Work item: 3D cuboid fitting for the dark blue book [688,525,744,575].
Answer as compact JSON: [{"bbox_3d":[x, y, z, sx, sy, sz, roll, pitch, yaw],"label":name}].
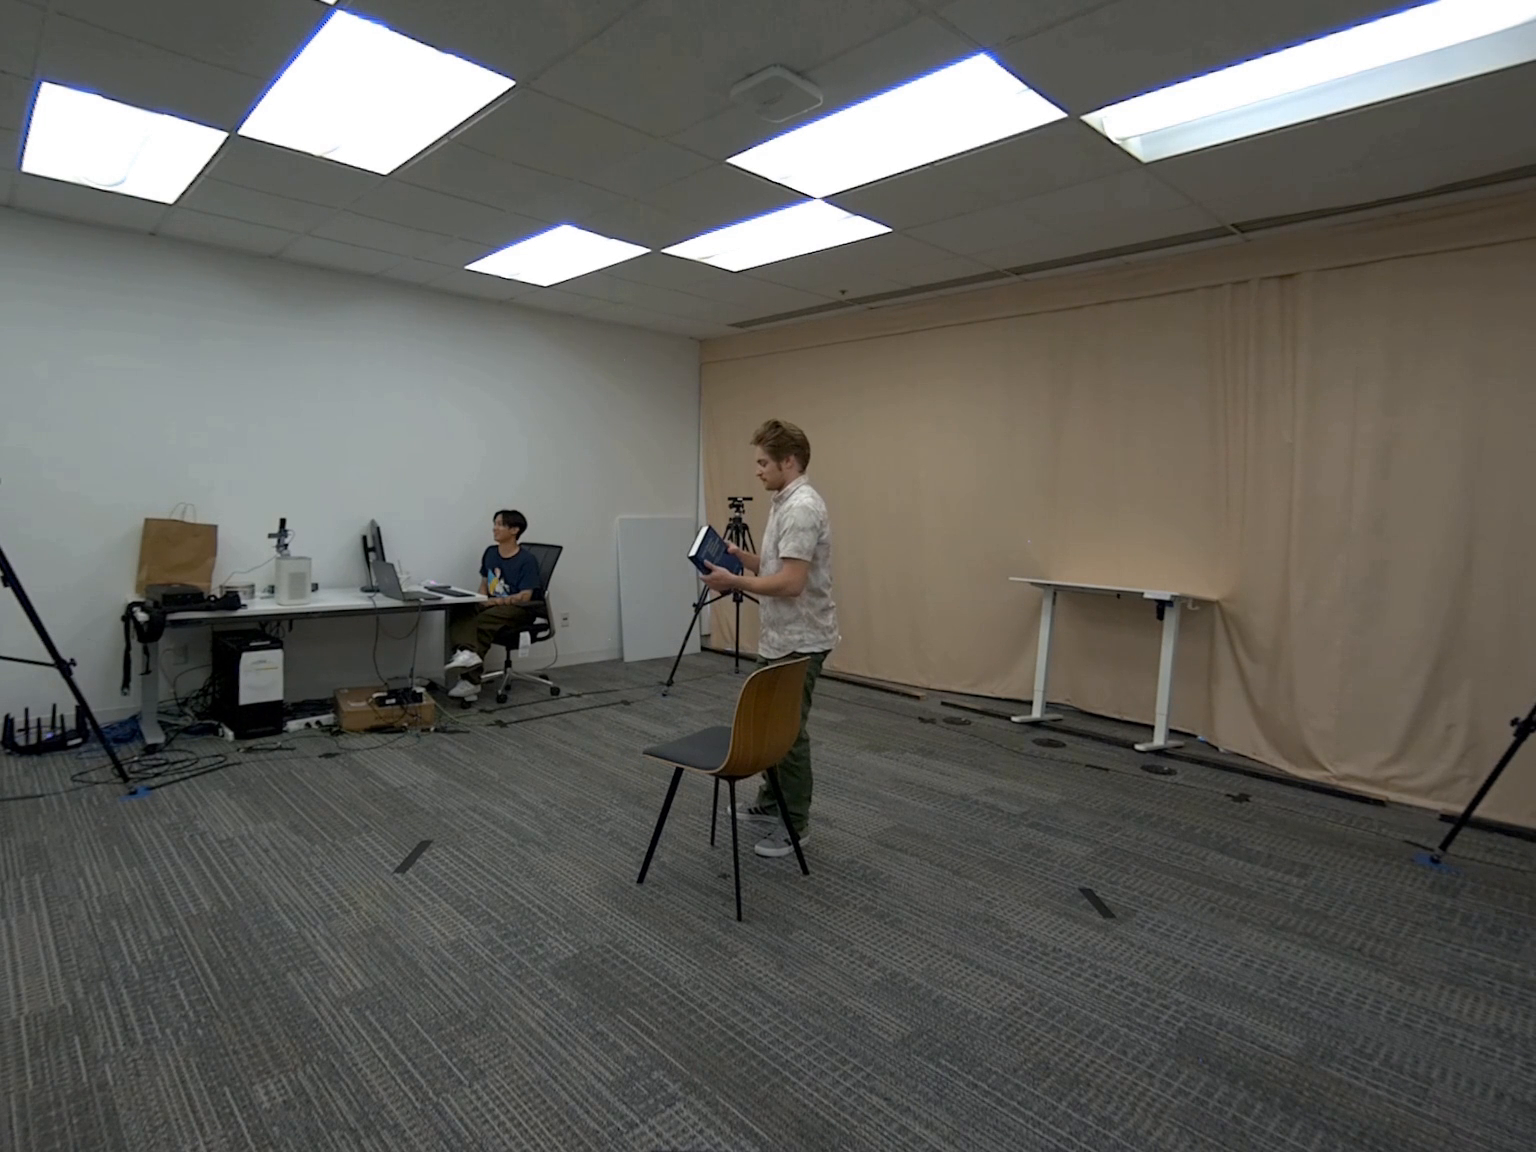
[{"bbox_3d":[-0.210,-0.061,3.312,0.046,0.165,0.238,-12,-48,38],"label":"dark blue book"}]
